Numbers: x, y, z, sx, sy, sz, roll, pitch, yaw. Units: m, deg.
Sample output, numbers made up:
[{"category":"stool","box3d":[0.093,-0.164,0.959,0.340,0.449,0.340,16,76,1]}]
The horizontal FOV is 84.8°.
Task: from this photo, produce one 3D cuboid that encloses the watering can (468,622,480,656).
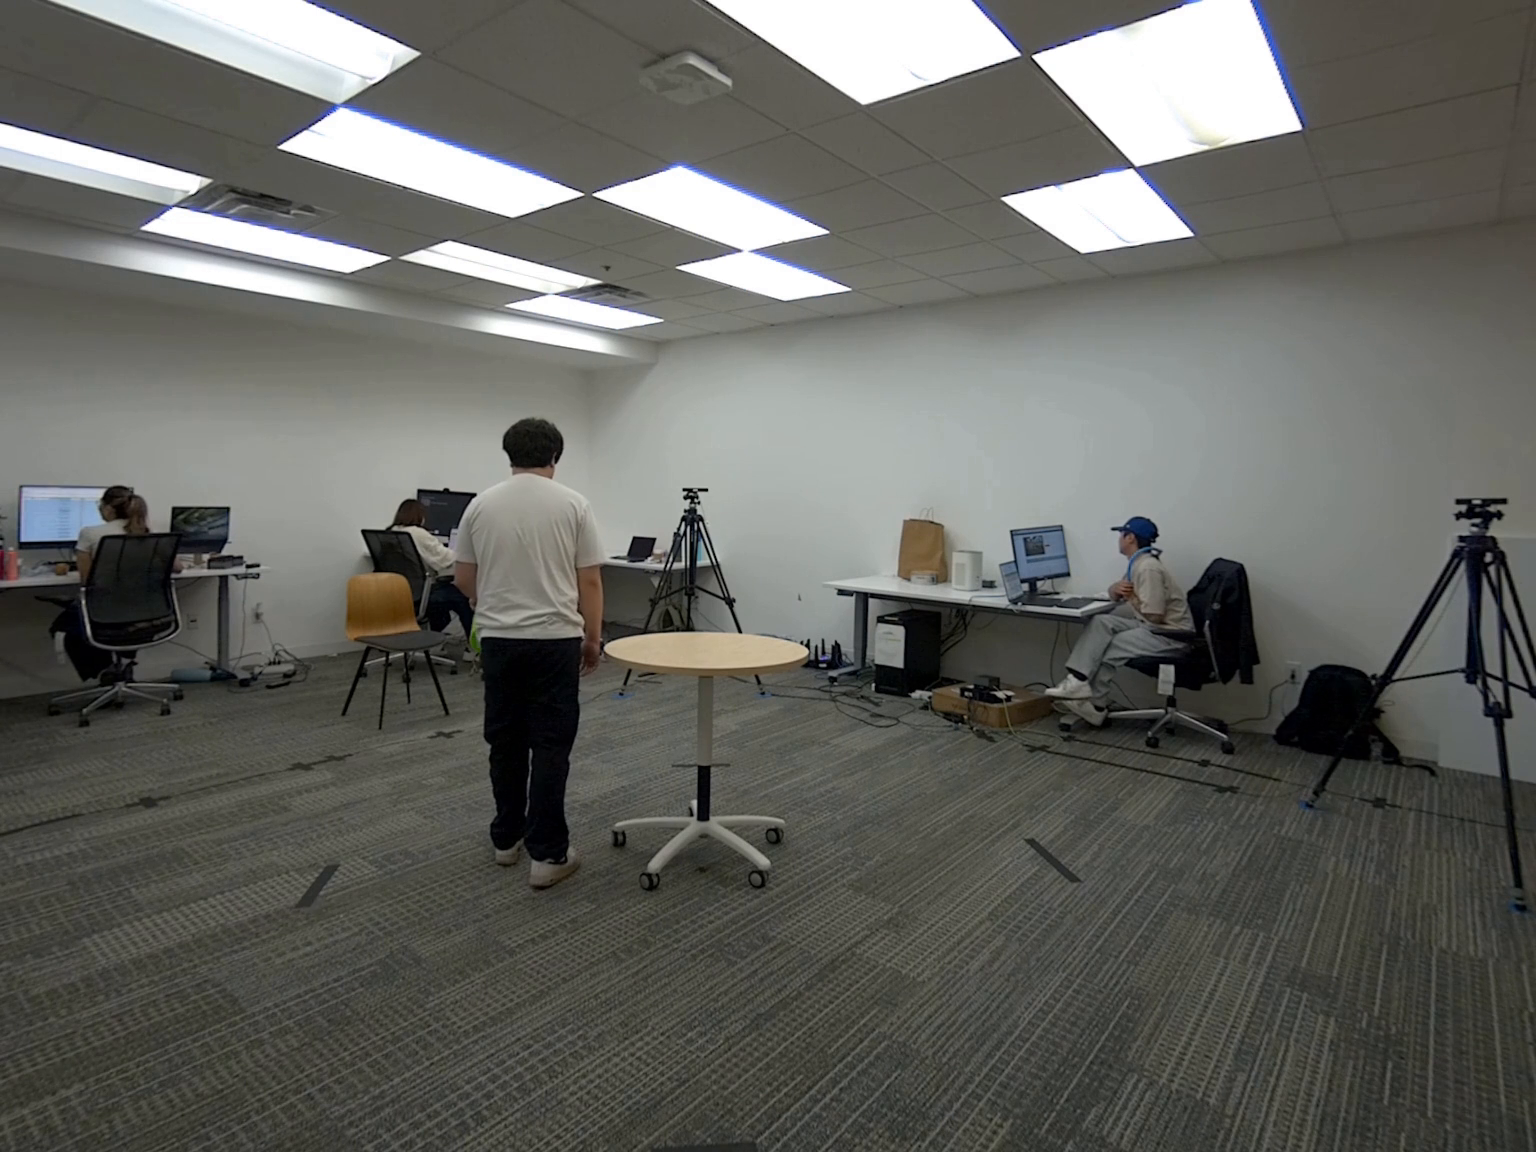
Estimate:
[{"category":"watering can","box3d":[-1.145,0.239,3.430,0.098,0.270,0.182,-6,37,-4]}]
